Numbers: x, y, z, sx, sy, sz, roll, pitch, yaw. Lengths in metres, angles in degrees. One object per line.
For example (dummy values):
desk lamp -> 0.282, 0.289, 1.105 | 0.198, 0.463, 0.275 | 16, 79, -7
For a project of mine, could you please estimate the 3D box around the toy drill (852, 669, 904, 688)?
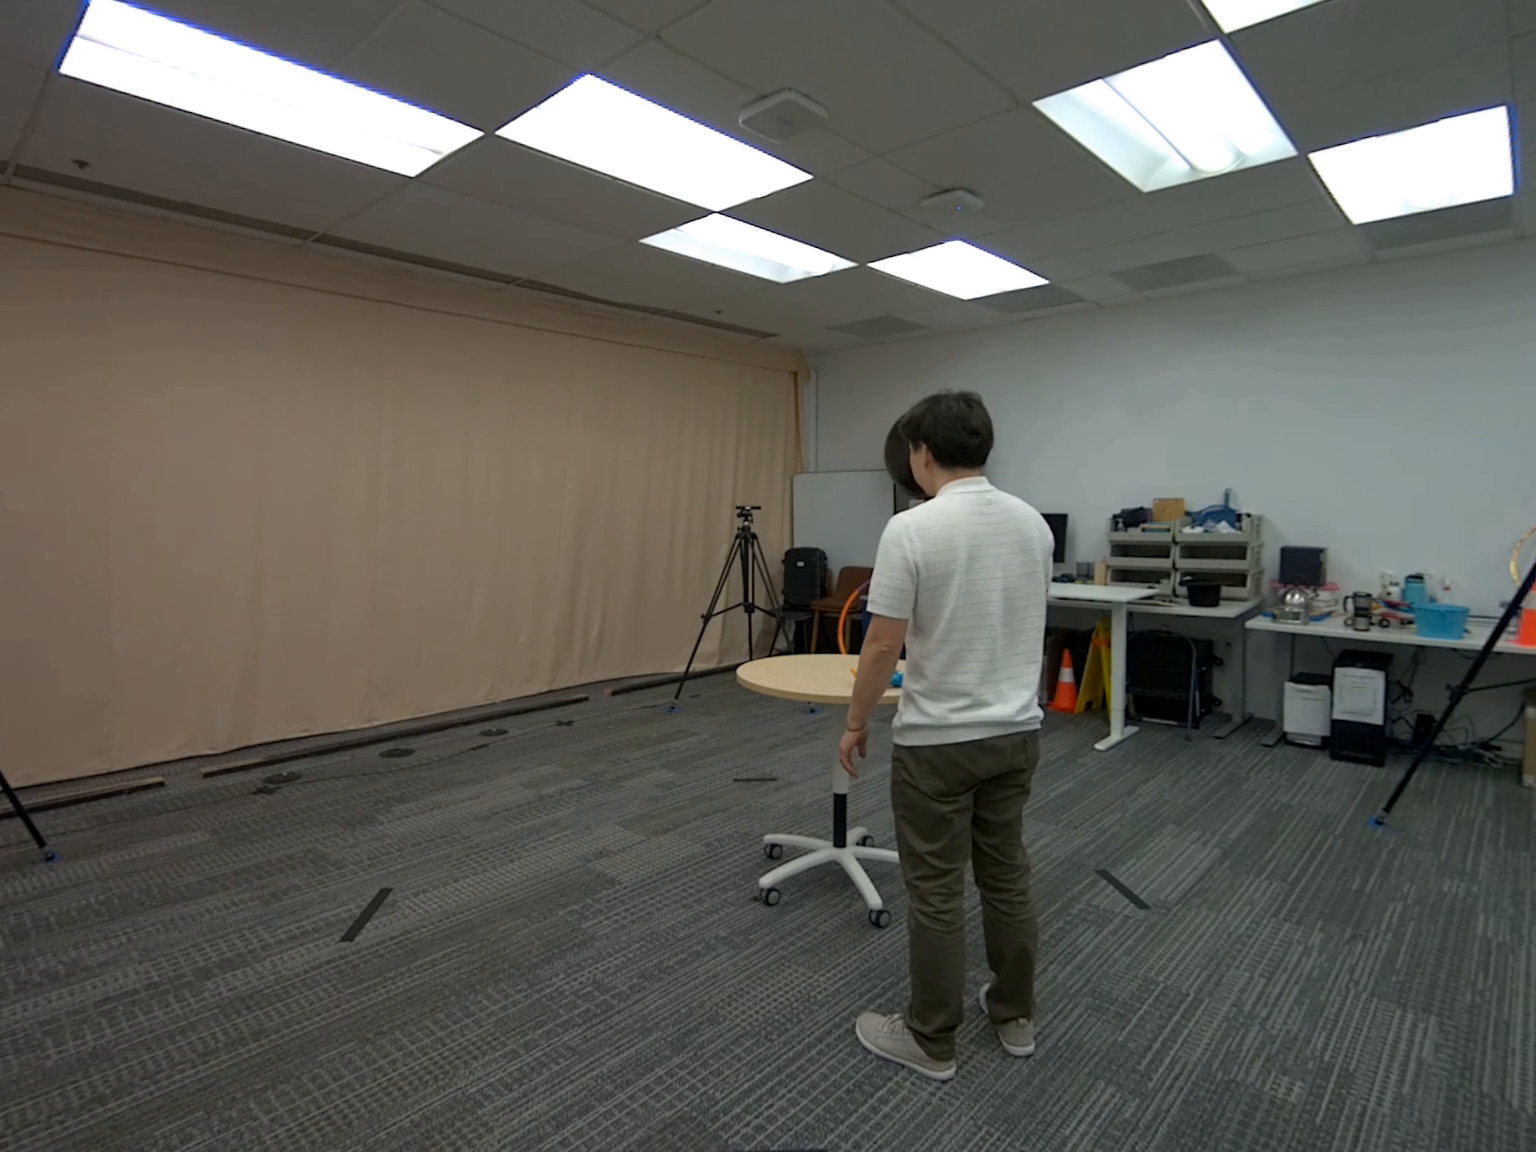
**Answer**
toy drill -> 0.367, 0.343, 2.830 | 0.142, 0.061, 0.174 | 3, 9, -24
